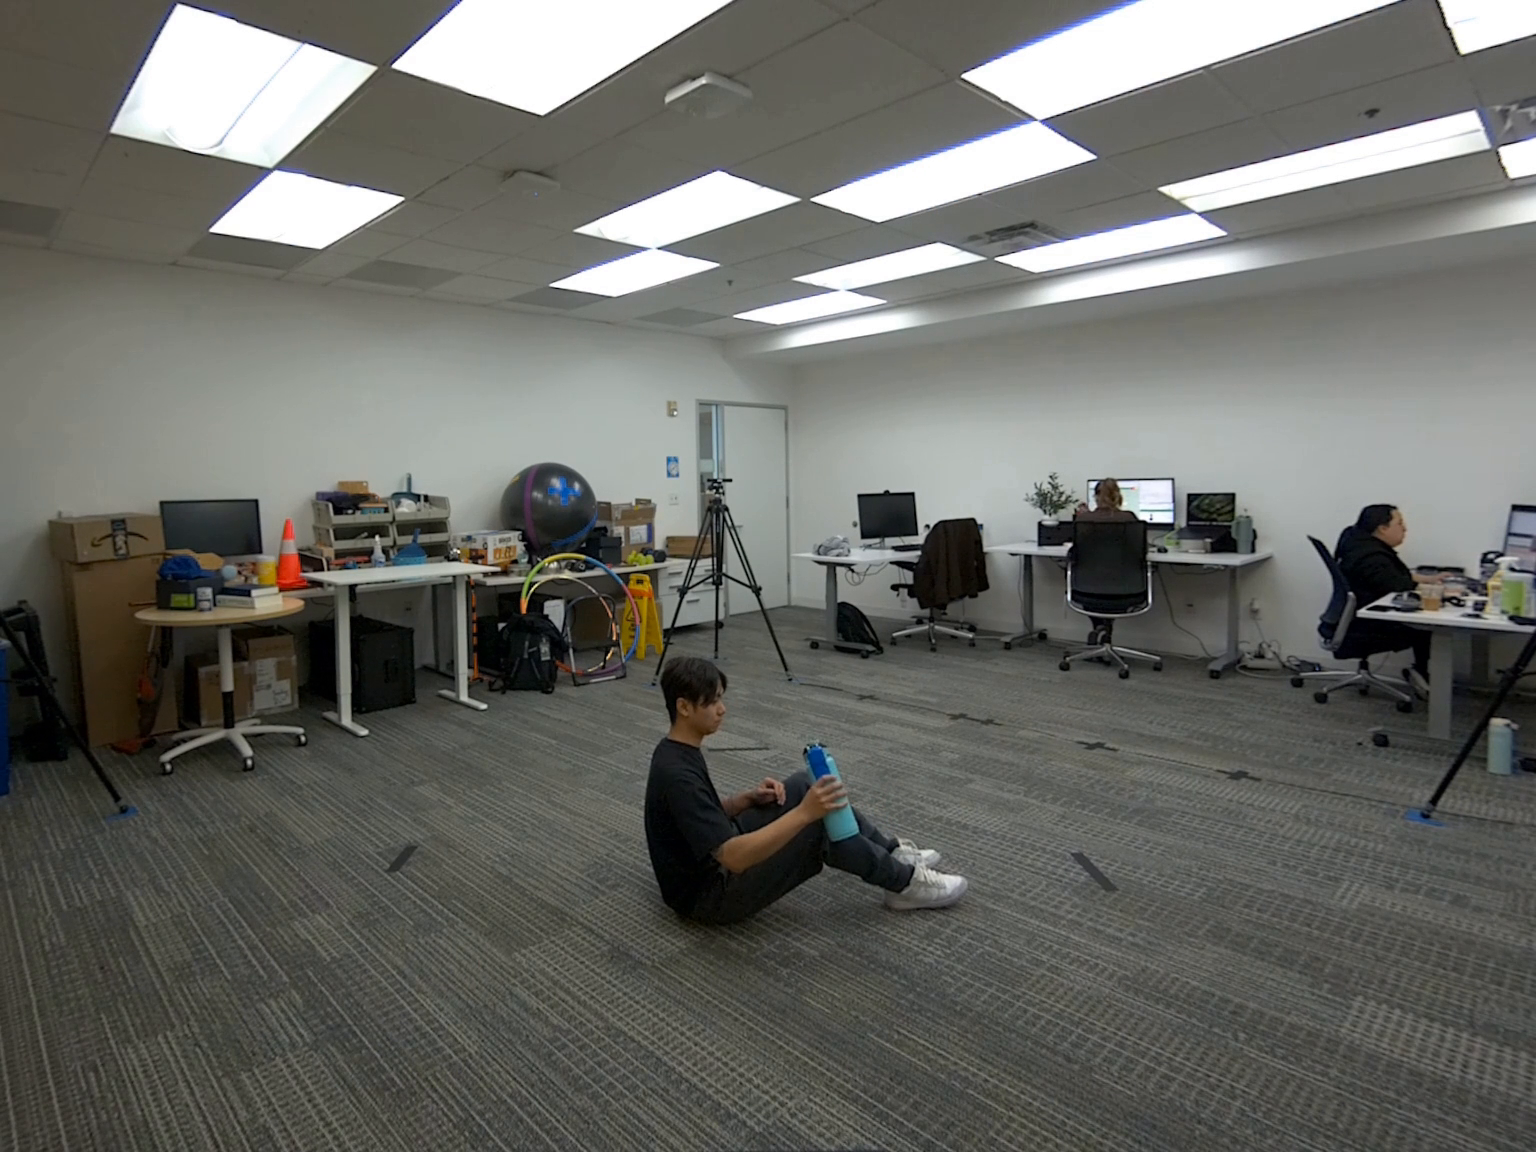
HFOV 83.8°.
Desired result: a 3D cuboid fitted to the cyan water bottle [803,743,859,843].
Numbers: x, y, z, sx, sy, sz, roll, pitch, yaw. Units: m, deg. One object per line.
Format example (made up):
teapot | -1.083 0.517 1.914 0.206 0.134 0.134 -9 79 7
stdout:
cyan water bottle | 0.187 0.633 2.522 0.092 0.287 0.091 -17 -12 -5
